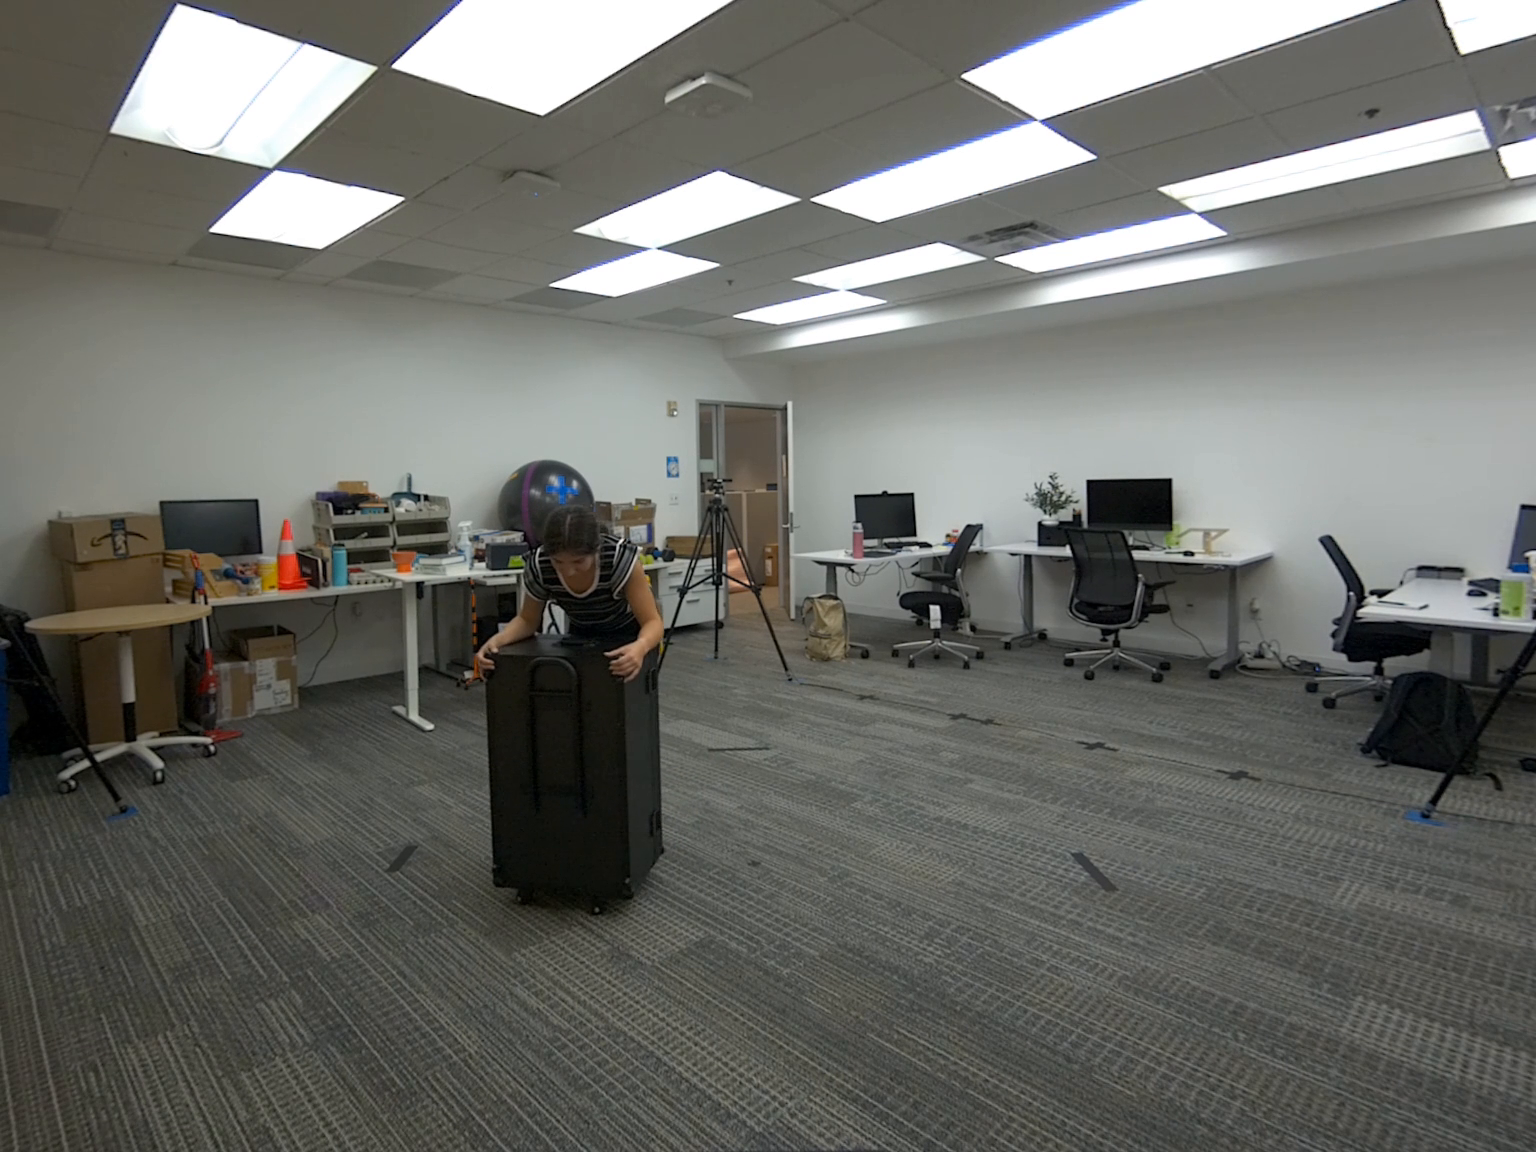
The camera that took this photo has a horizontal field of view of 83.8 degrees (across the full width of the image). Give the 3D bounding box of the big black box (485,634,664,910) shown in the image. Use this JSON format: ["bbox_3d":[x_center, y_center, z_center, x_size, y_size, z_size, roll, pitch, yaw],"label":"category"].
[{"bbox_3d":[-0.638,0.659,2.898,0.528,0.857,0.393,0,6,12],"label":"big black box"}]
